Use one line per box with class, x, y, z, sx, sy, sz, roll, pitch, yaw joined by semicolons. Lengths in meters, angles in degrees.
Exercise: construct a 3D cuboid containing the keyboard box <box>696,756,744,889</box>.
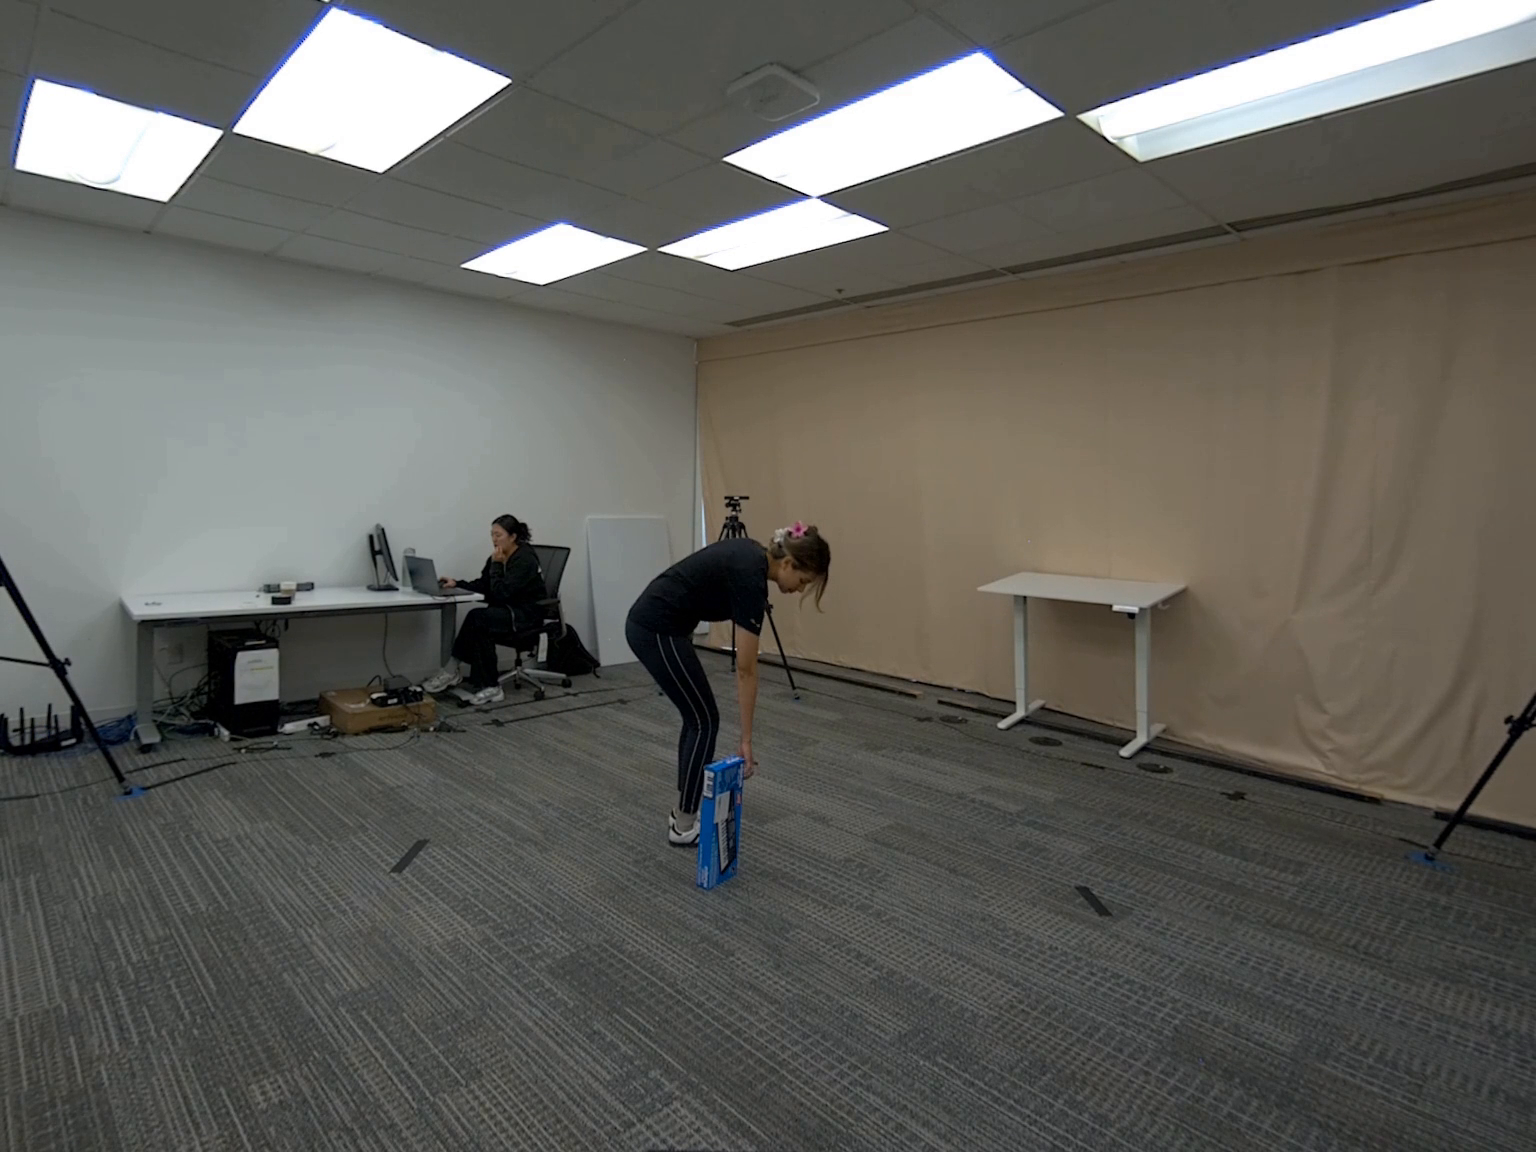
keyboard box;-0.180;0.890;3.044;0.060;0.435;0.172;7;6;34
